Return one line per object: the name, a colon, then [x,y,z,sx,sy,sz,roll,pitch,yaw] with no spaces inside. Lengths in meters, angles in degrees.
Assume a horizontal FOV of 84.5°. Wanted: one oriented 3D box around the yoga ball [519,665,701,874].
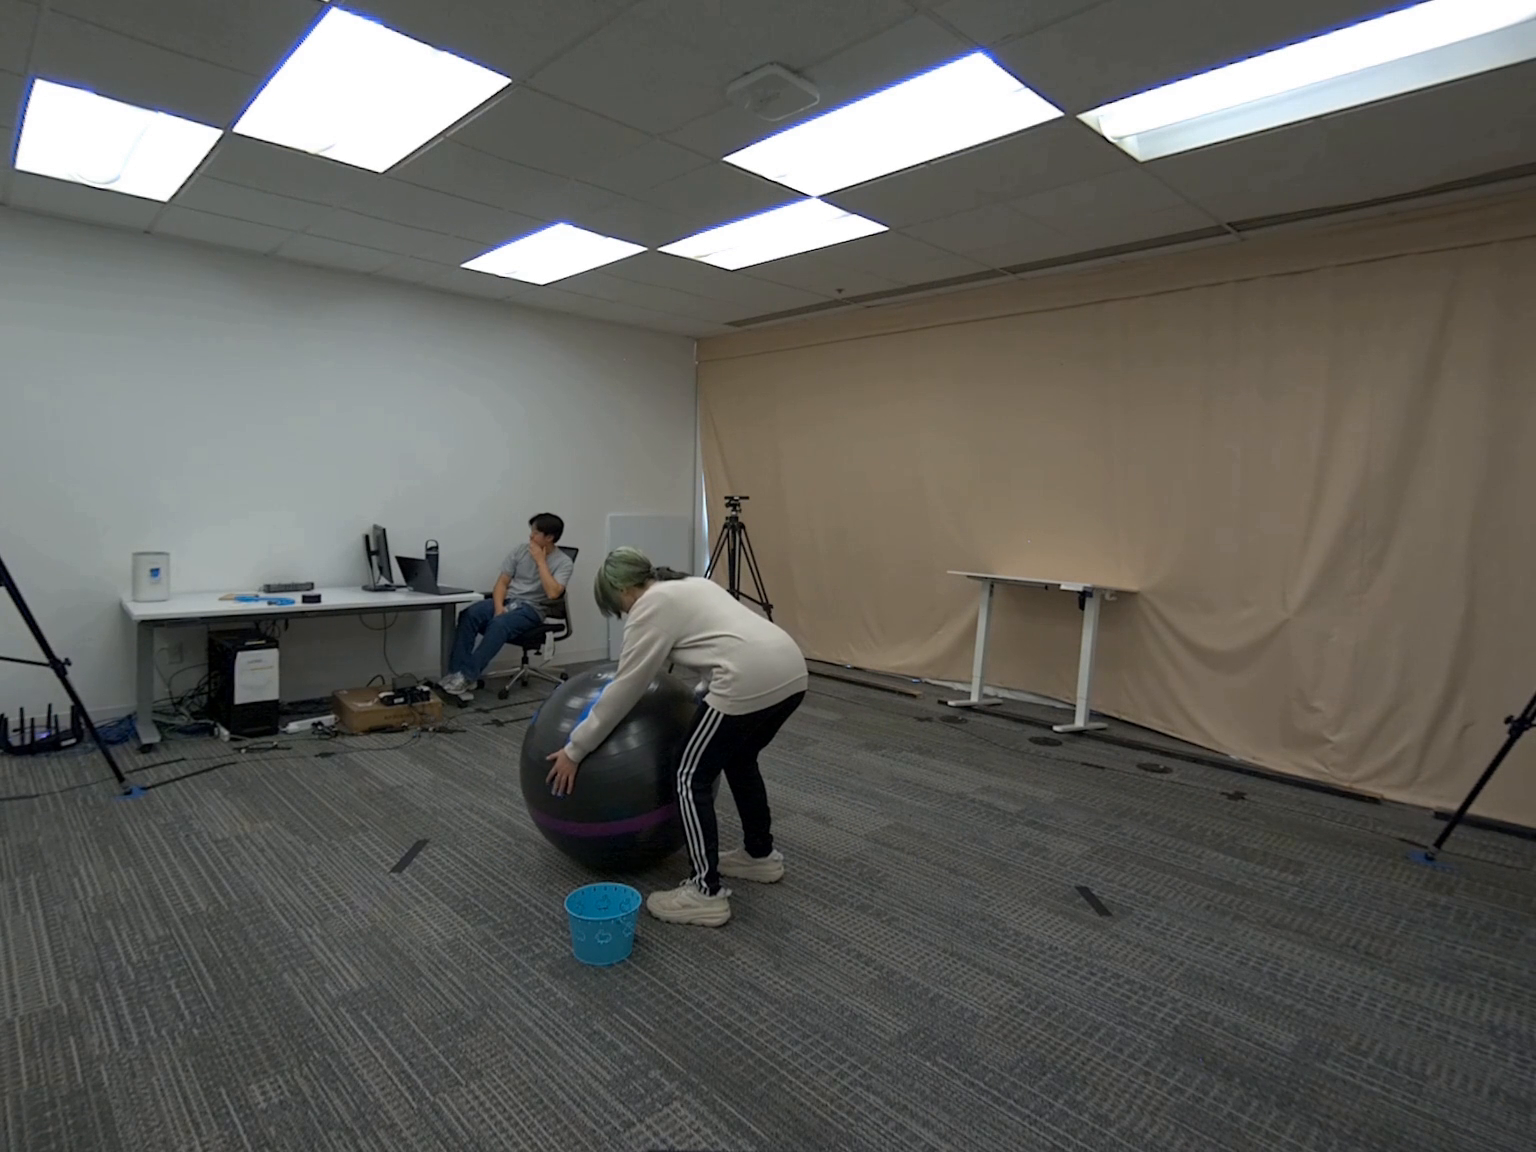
yoga ball: [-0.561,0.718,3.189,0.757,0.756,0.761,1,4,-1]
